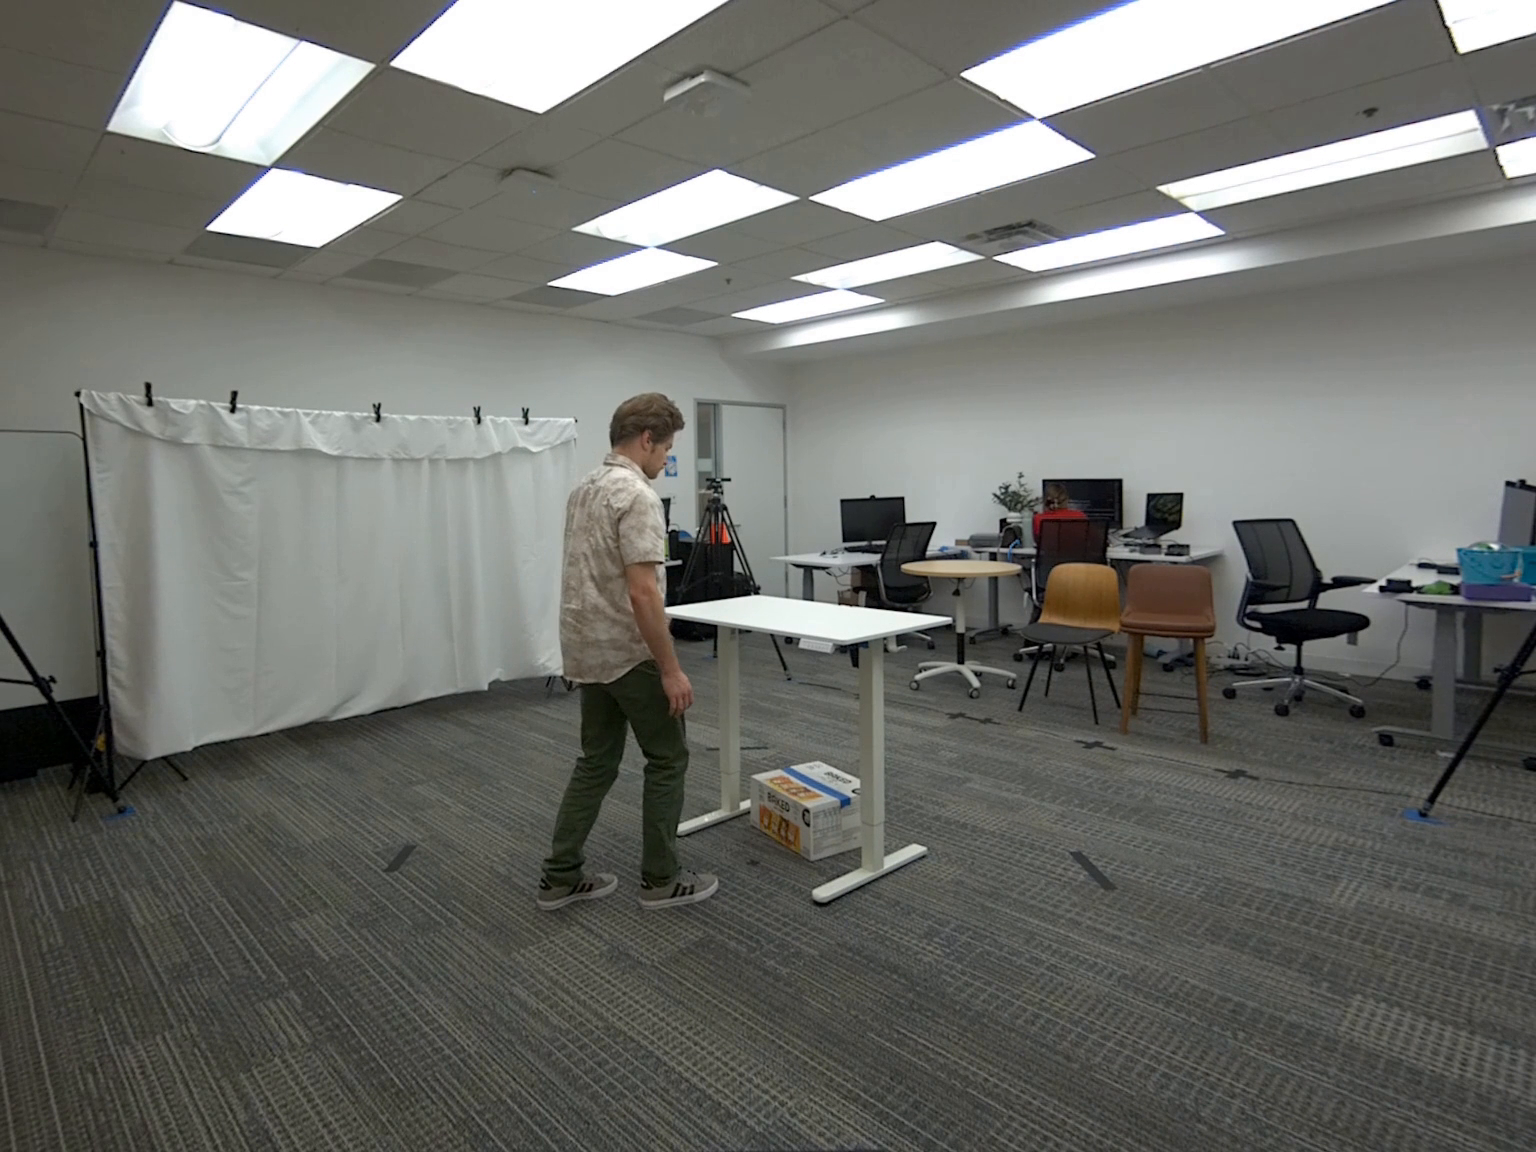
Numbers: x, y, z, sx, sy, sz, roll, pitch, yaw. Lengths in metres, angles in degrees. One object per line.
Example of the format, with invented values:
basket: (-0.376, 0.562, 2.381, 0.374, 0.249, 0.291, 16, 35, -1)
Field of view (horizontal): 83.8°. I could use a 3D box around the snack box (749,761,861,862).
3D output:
snack box: (0.187, 0.911, 3.347, 0.332, 0.205, 0.417, -5, 7, -32)
